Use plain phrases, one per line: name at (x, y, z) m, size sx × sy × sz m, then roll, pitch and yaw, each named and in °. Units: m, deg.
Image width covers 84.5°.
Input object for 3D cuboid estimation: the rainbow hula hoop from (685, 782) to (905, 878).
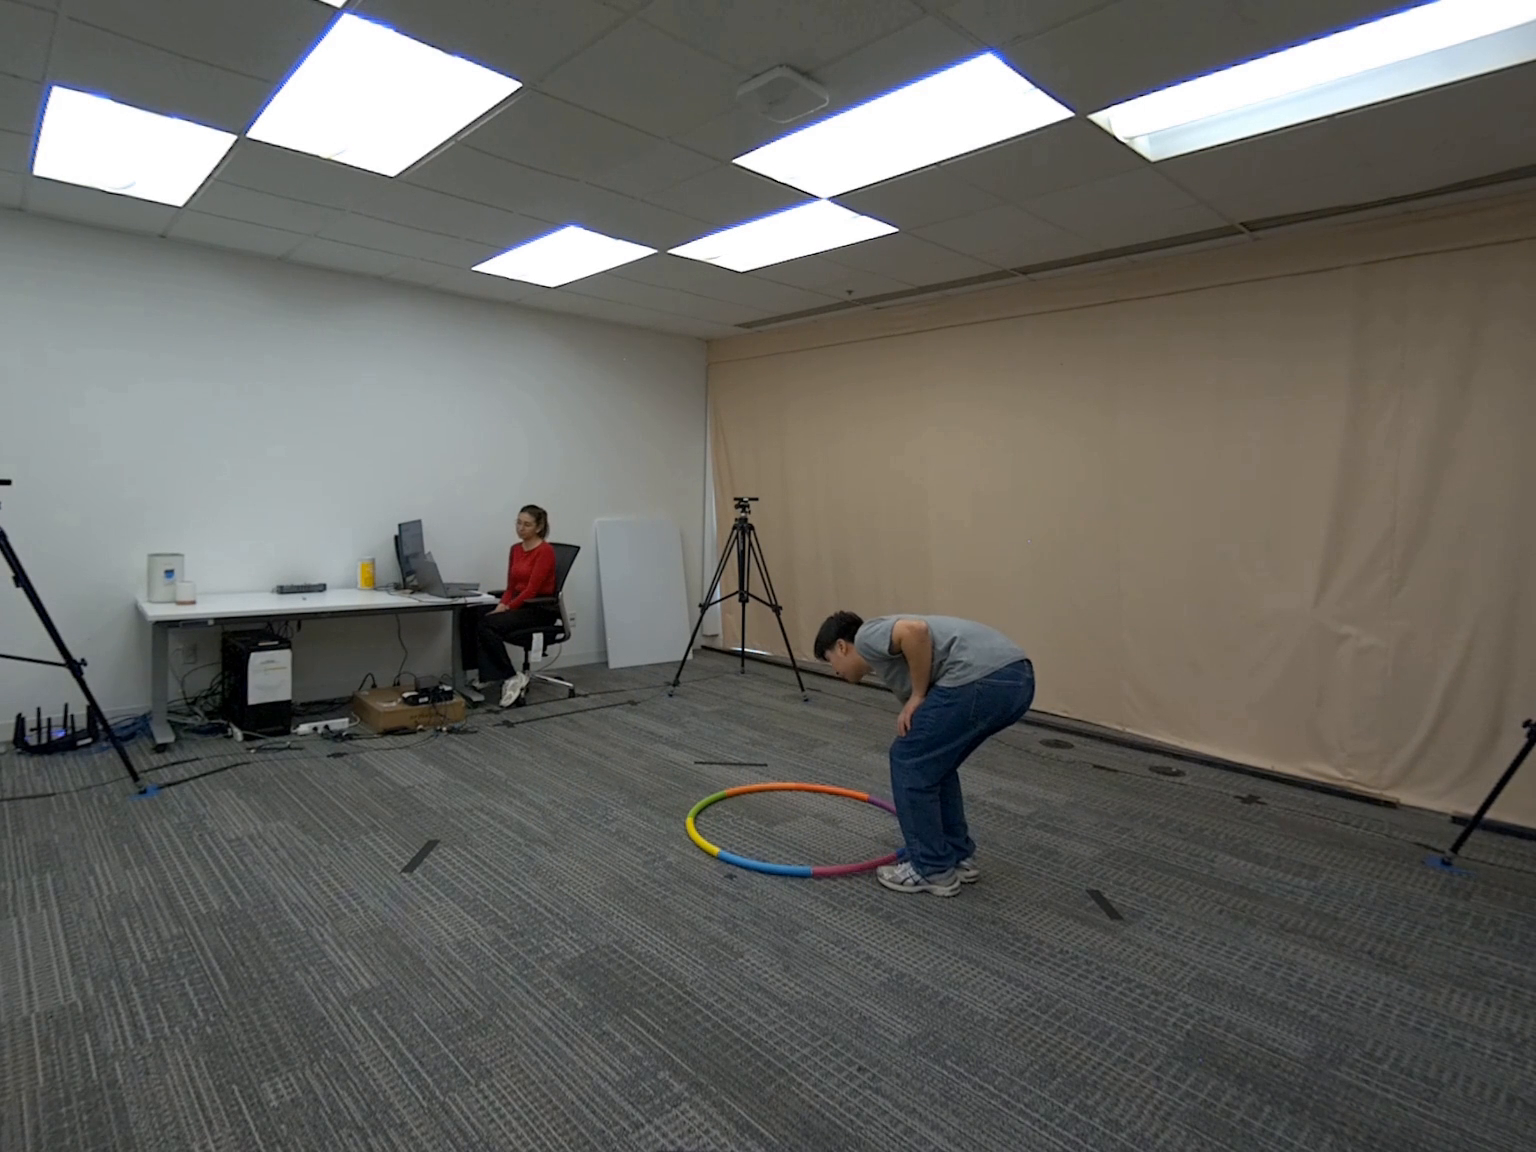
rainbow hula hoop at (0.125, 1.031, 3.589) m, size 0.978 × 0.035 × 0.981 m, roll 1°, pitch 4°, yaw -1°
